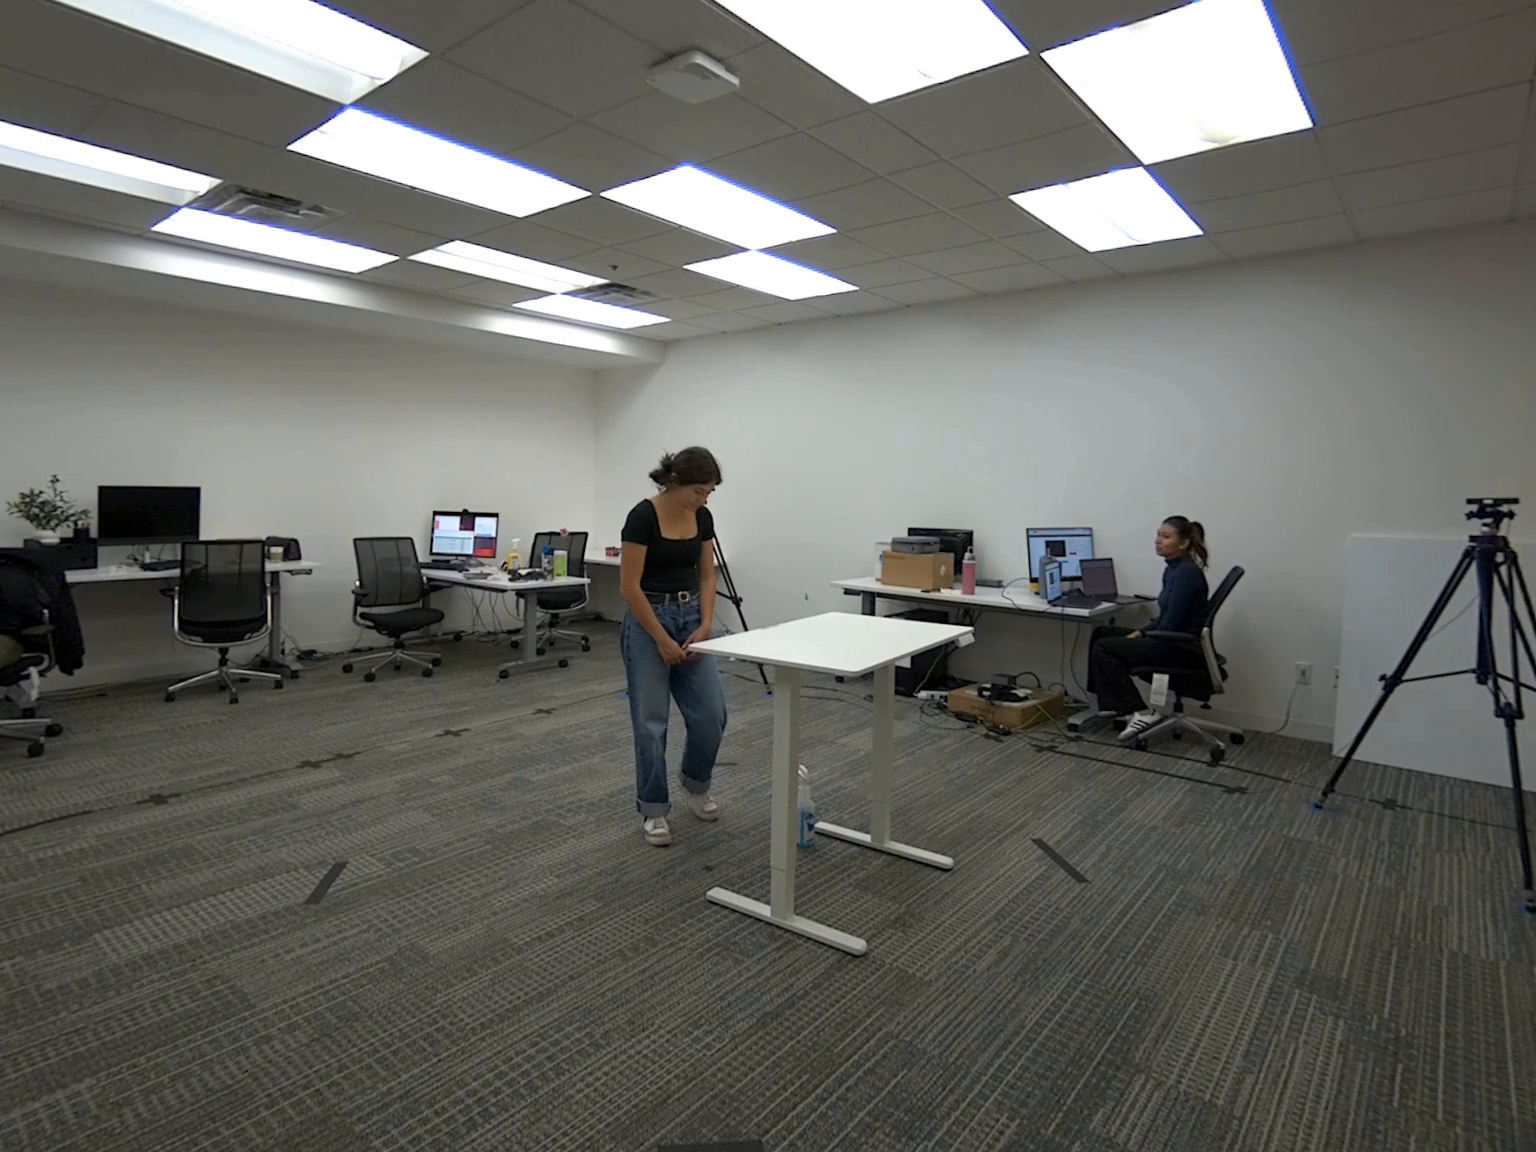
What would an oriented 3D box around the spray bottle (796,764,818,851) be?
[{"bbox_3d":[0.138,0.912,3.361,0.088,0.298,0.088,0,-1,15],"label":"spray bottle"}]
